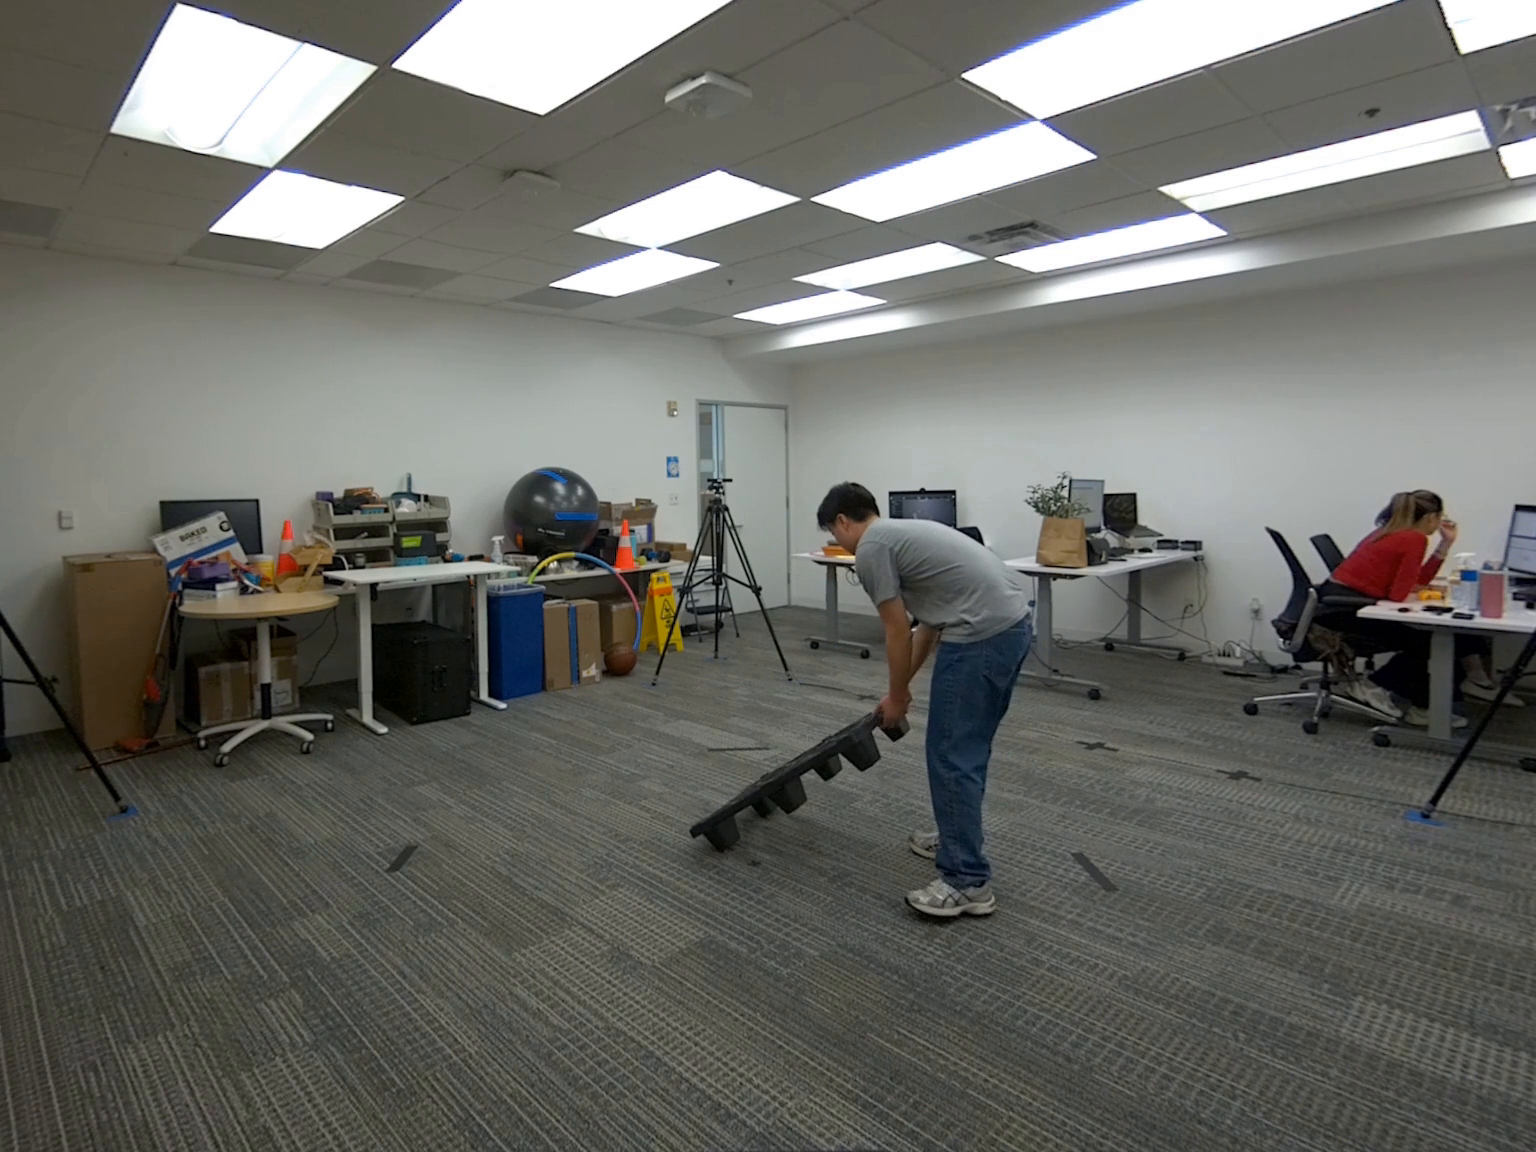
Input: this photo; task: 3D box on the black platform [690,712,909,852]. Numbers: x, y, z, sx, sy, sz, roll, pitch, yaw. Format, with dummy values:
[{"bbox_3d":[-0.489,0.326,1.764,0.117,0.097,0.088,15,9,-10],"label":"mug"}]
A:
[{"bbox_3d":[0.158,0.761,3.257,0.809,0.145,0.594,-37,-10,25],"label":"black platform"}]
